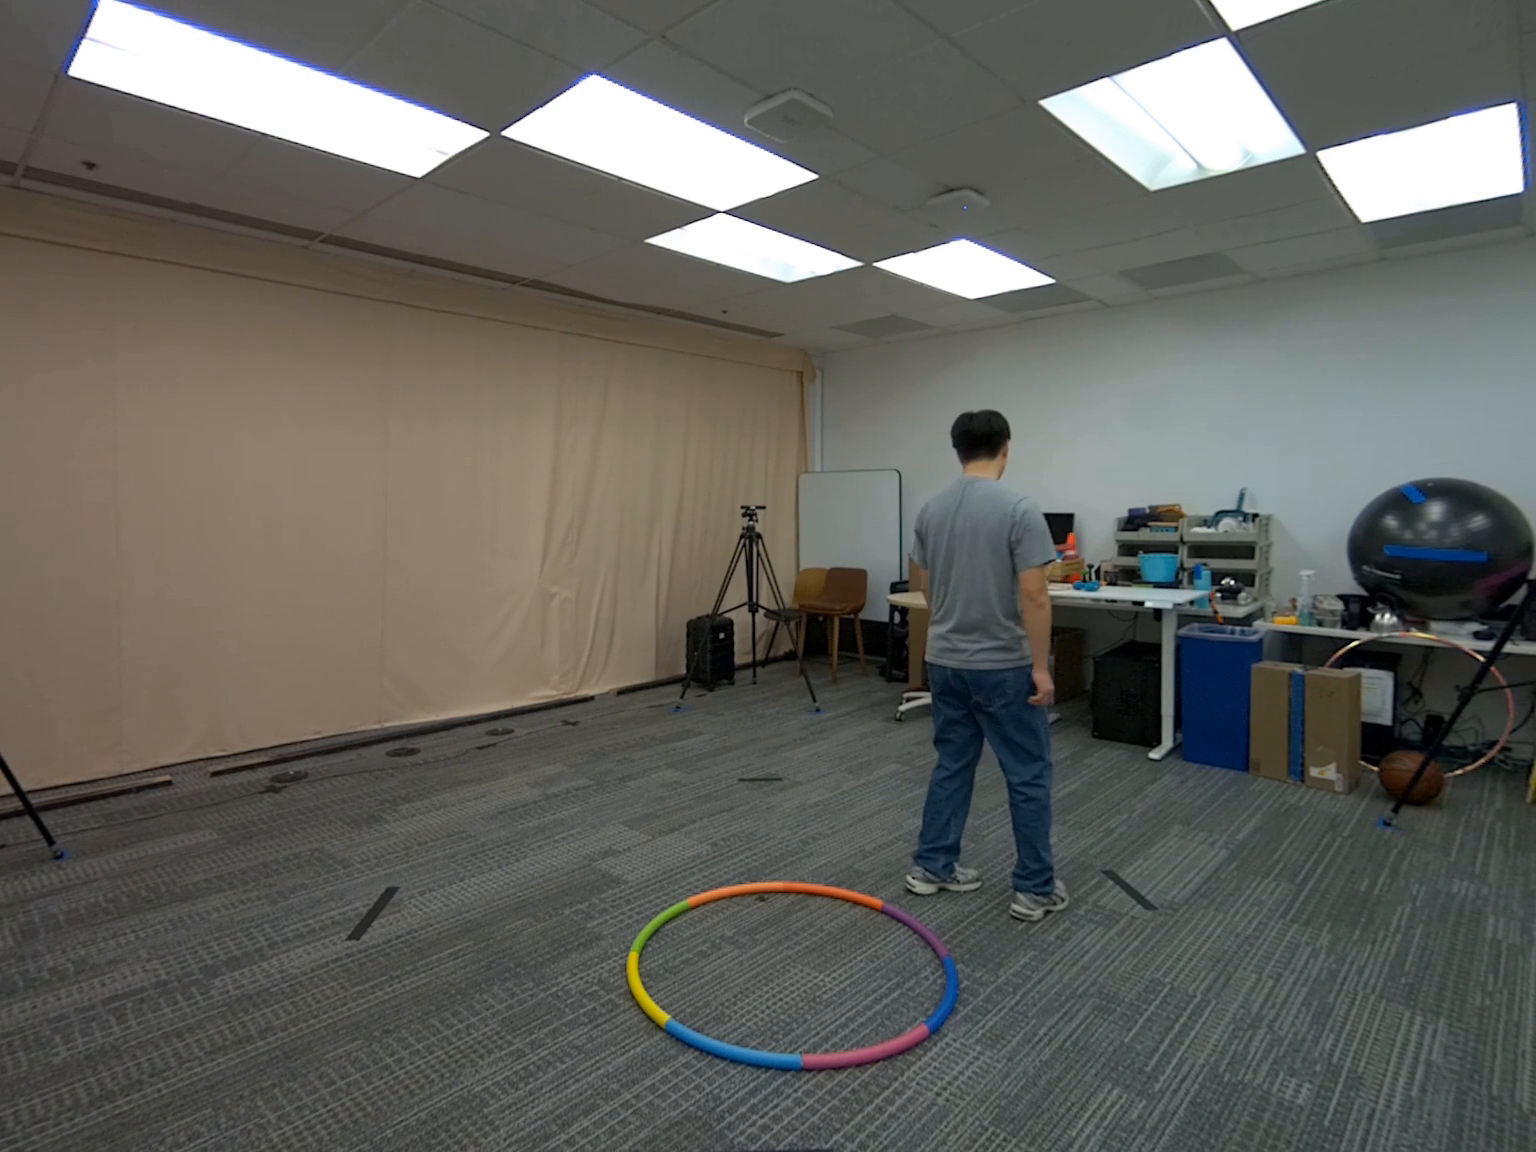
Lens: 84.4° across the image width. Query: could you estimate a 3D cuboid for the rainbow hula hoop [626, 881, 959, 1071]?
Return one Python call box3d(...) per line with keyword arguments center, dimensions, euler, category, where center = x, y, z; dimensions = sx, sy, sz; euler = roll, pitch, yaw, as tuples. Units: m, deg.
box3d(center=(0.070, 1.148, 2.563), dimensions=(0.978, 0.035, 0.982), euler=(0, 5, -2), category="rainbow hula hoop")
